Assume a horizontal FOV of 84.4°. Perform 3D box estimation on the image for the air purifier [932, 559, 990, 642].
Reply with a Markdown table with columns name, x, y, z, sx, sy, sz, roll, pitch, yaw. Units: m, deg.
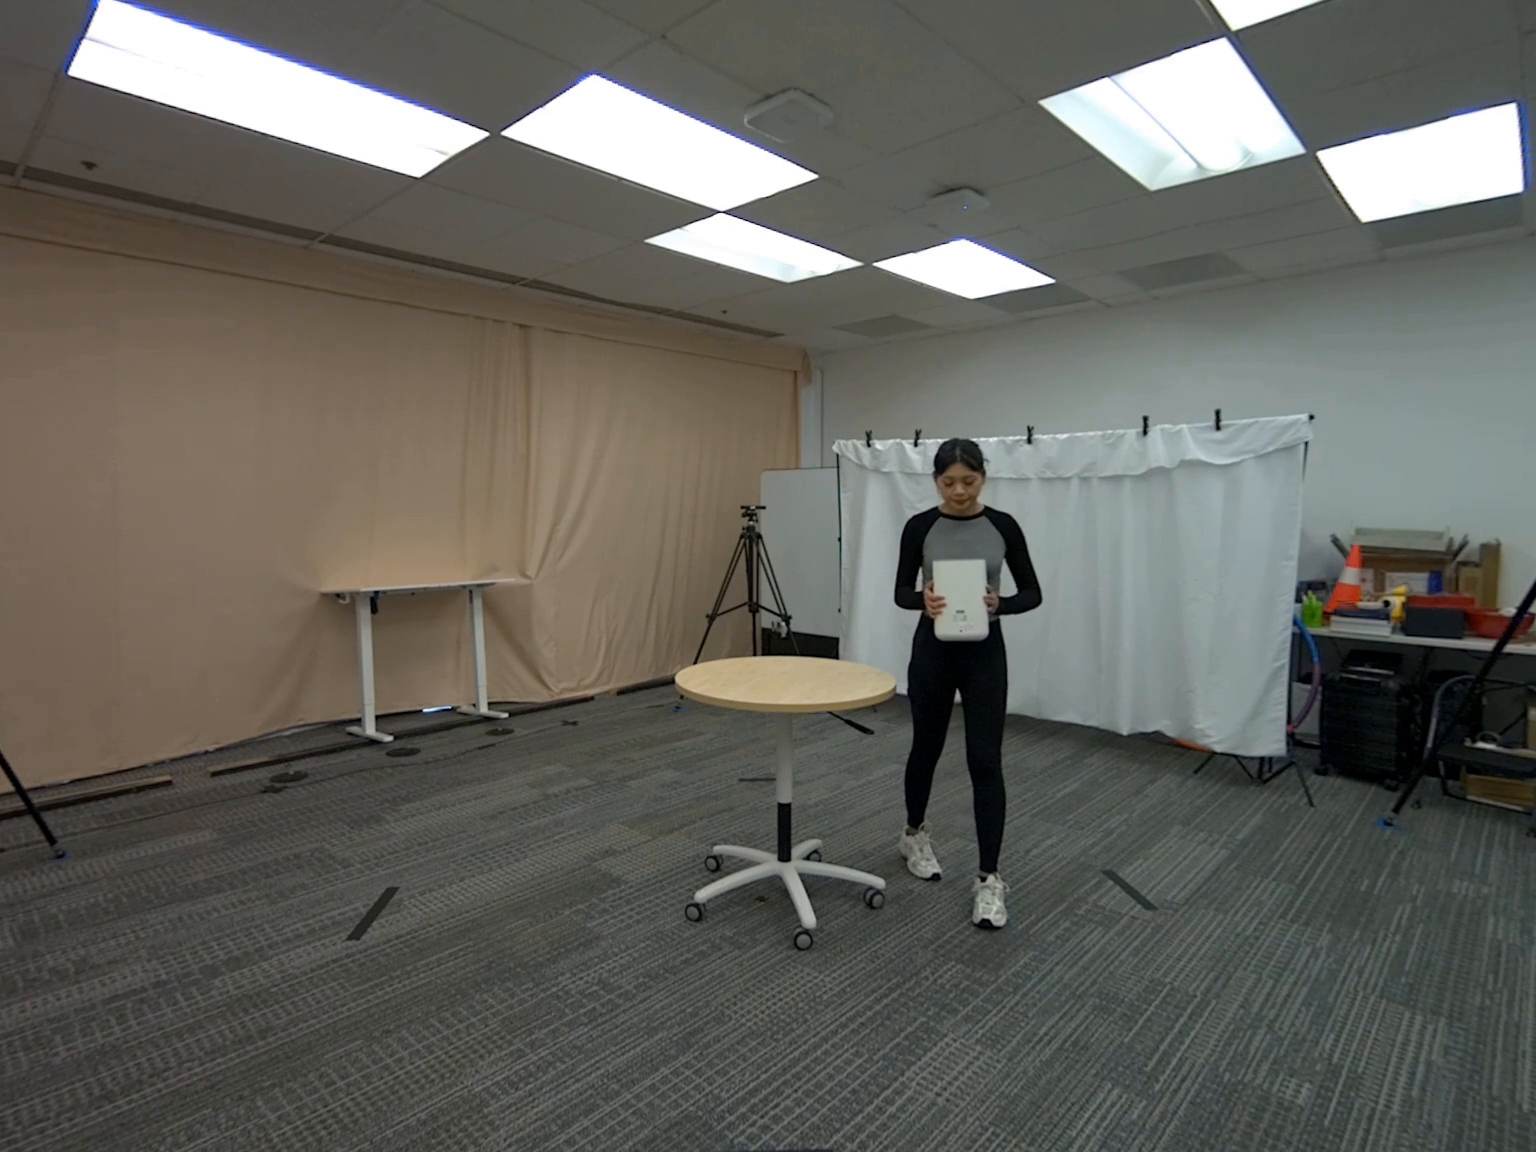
| name | x | y | z | sx | sy | sz | roll | pitch | yaw |
| --- | --- | --- | --- | --- | --- | --- | --- | --- | --- |
| air purifier | 0.641 | 0.079 | 2.791 | 0.173 | 0.266 | 0.169 | 0 | -3 | 8 |
